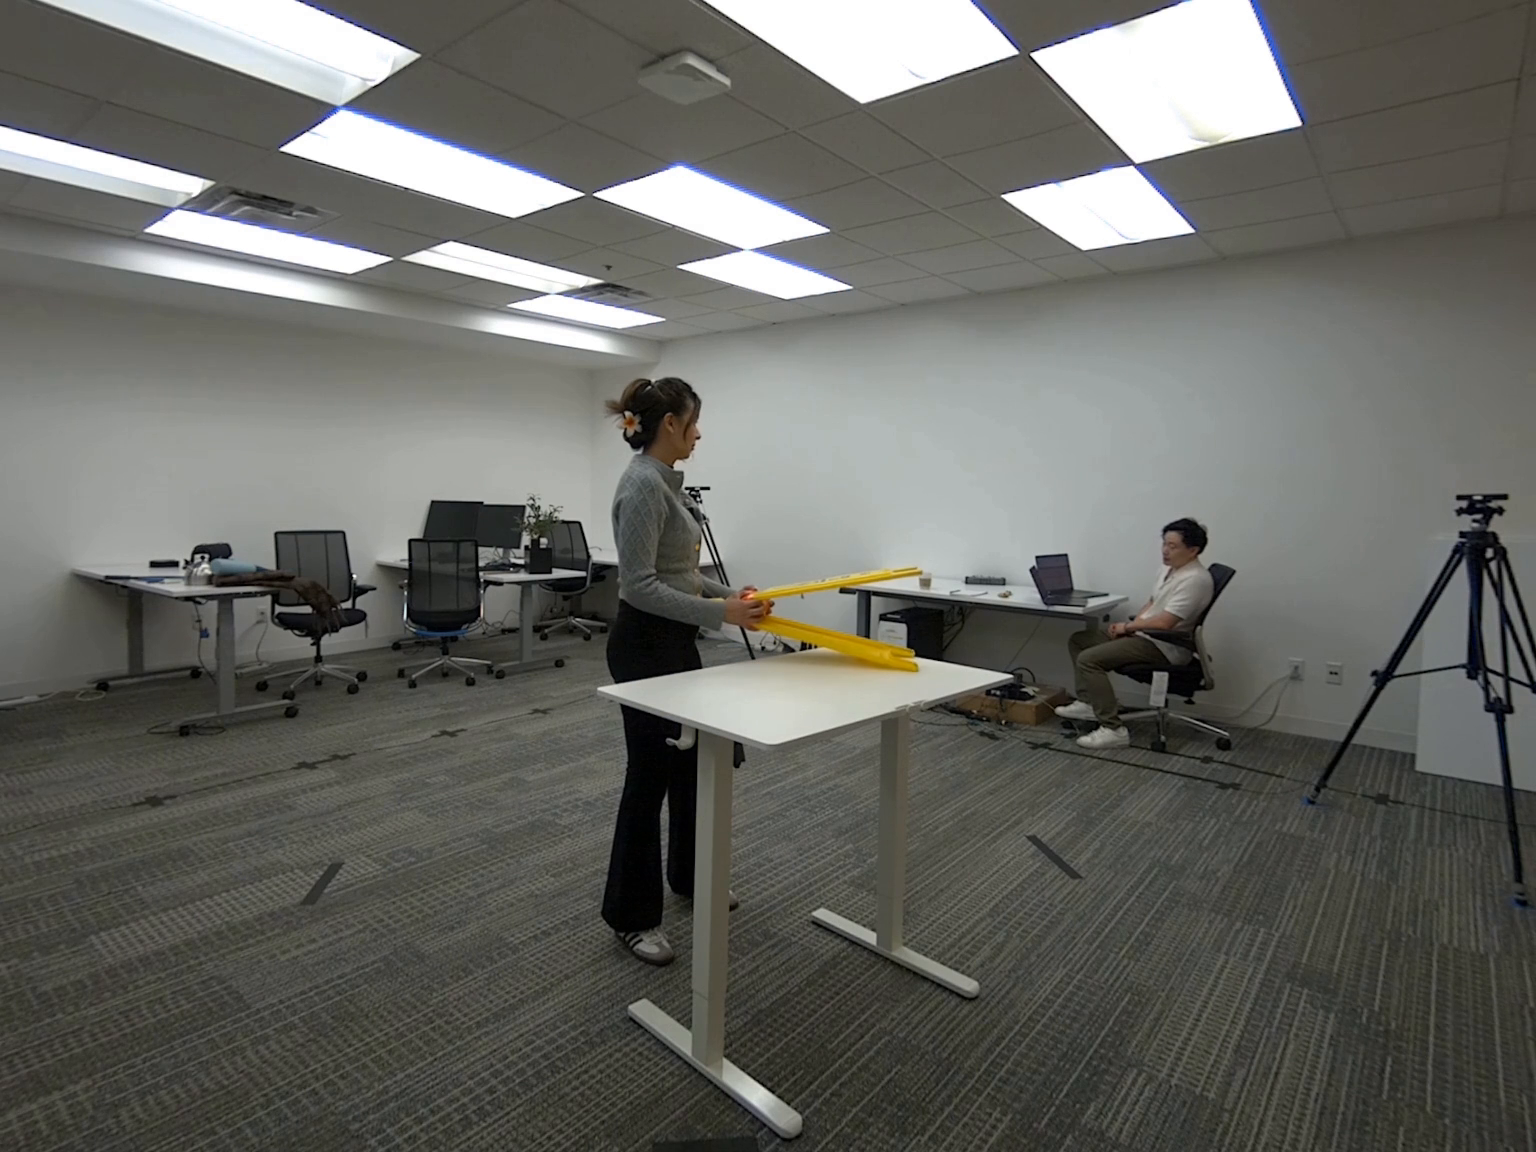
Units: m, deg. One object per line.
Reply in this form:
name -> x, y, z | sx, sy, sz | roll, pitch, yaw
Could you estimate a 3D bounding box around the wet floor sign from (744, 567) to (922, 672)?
wet floor sign -> 0.118, 0.100, 2.596 | 0.653, 0.289, 0.280 | 3, 3, 9
